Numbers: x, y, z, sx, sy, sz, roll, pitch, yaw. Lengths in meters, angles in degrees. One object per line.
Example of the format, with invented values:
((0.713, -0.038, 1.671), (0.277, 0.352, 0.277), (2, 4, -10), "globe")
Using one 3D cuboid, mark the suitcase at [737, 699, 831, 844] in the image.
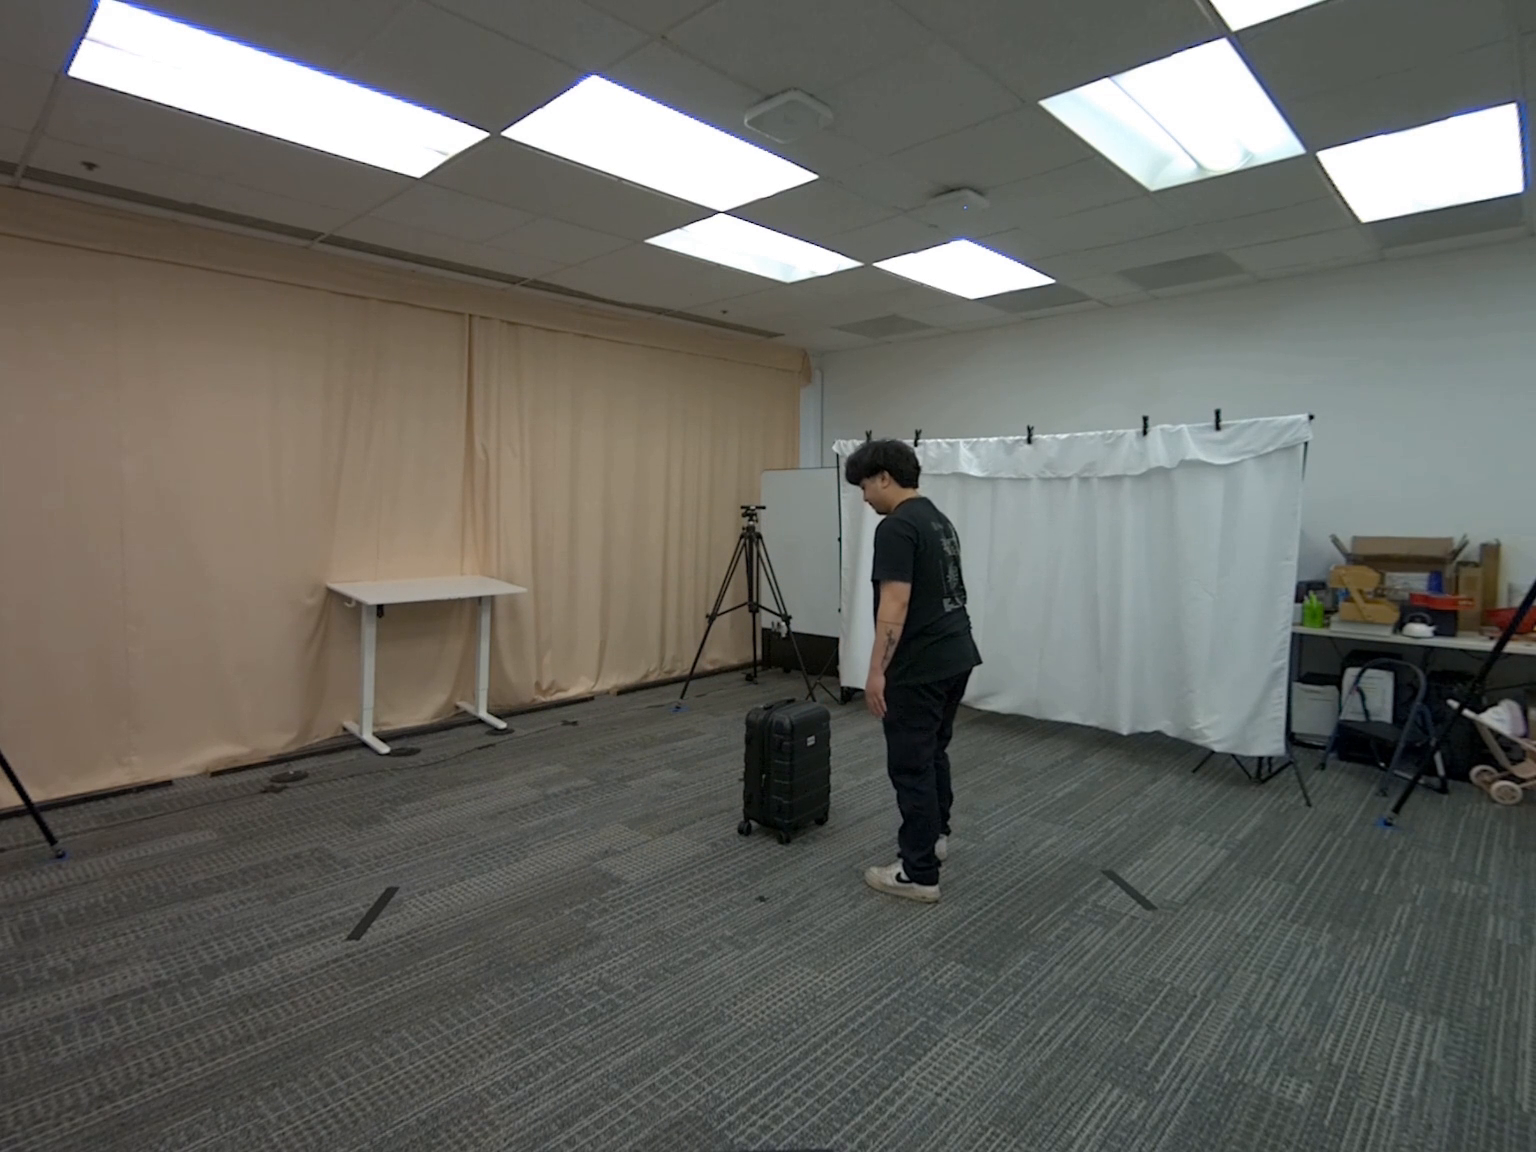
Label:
((0.084, 0.814, 3.626), (0.256, 0.548, 0.364), (5, 4, 38), "suitcase")
